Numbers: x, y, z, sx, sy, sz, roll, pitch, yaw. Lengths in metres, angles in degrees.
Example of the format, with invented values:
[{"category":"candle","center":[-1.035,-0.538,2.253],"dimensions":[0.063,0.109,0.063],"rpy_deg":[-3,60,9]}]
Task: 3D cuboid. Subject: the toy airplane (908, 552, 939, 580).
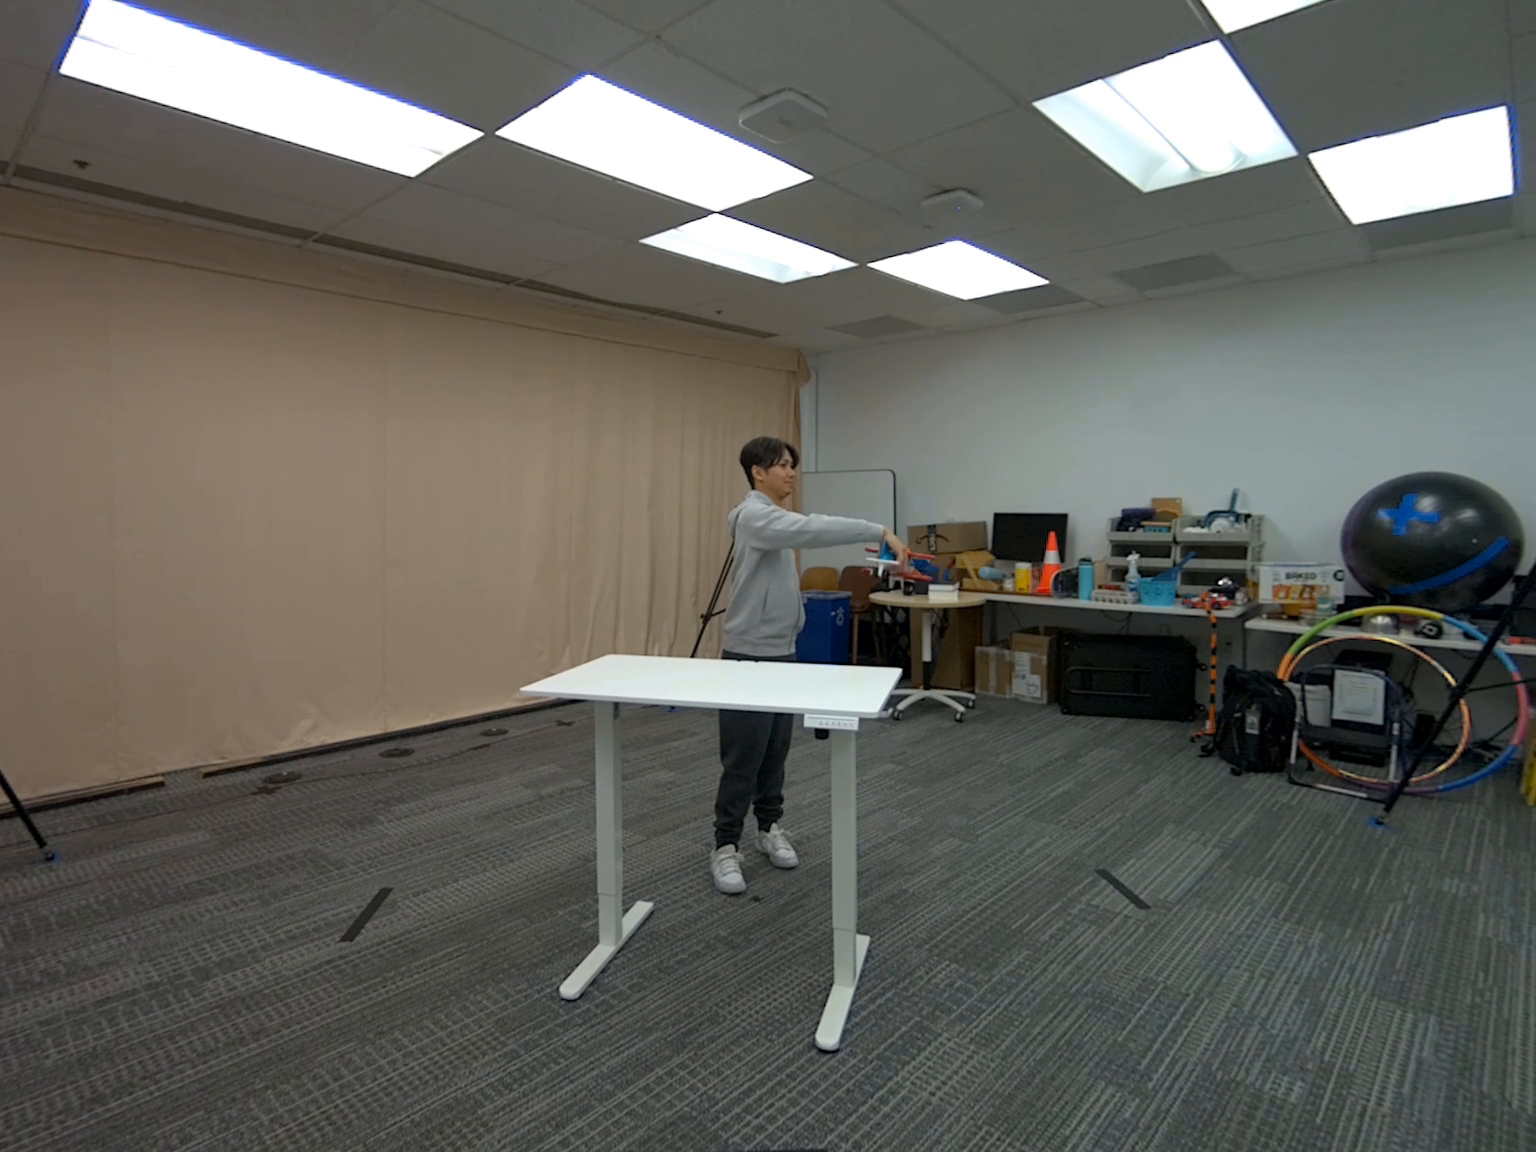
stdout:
[{"category":"toy airplane","center":[0.475,-0.041,2.980],"dimensions":[0.253,0.157,0.256],"rpy_deg":[15,-14,5]}]
